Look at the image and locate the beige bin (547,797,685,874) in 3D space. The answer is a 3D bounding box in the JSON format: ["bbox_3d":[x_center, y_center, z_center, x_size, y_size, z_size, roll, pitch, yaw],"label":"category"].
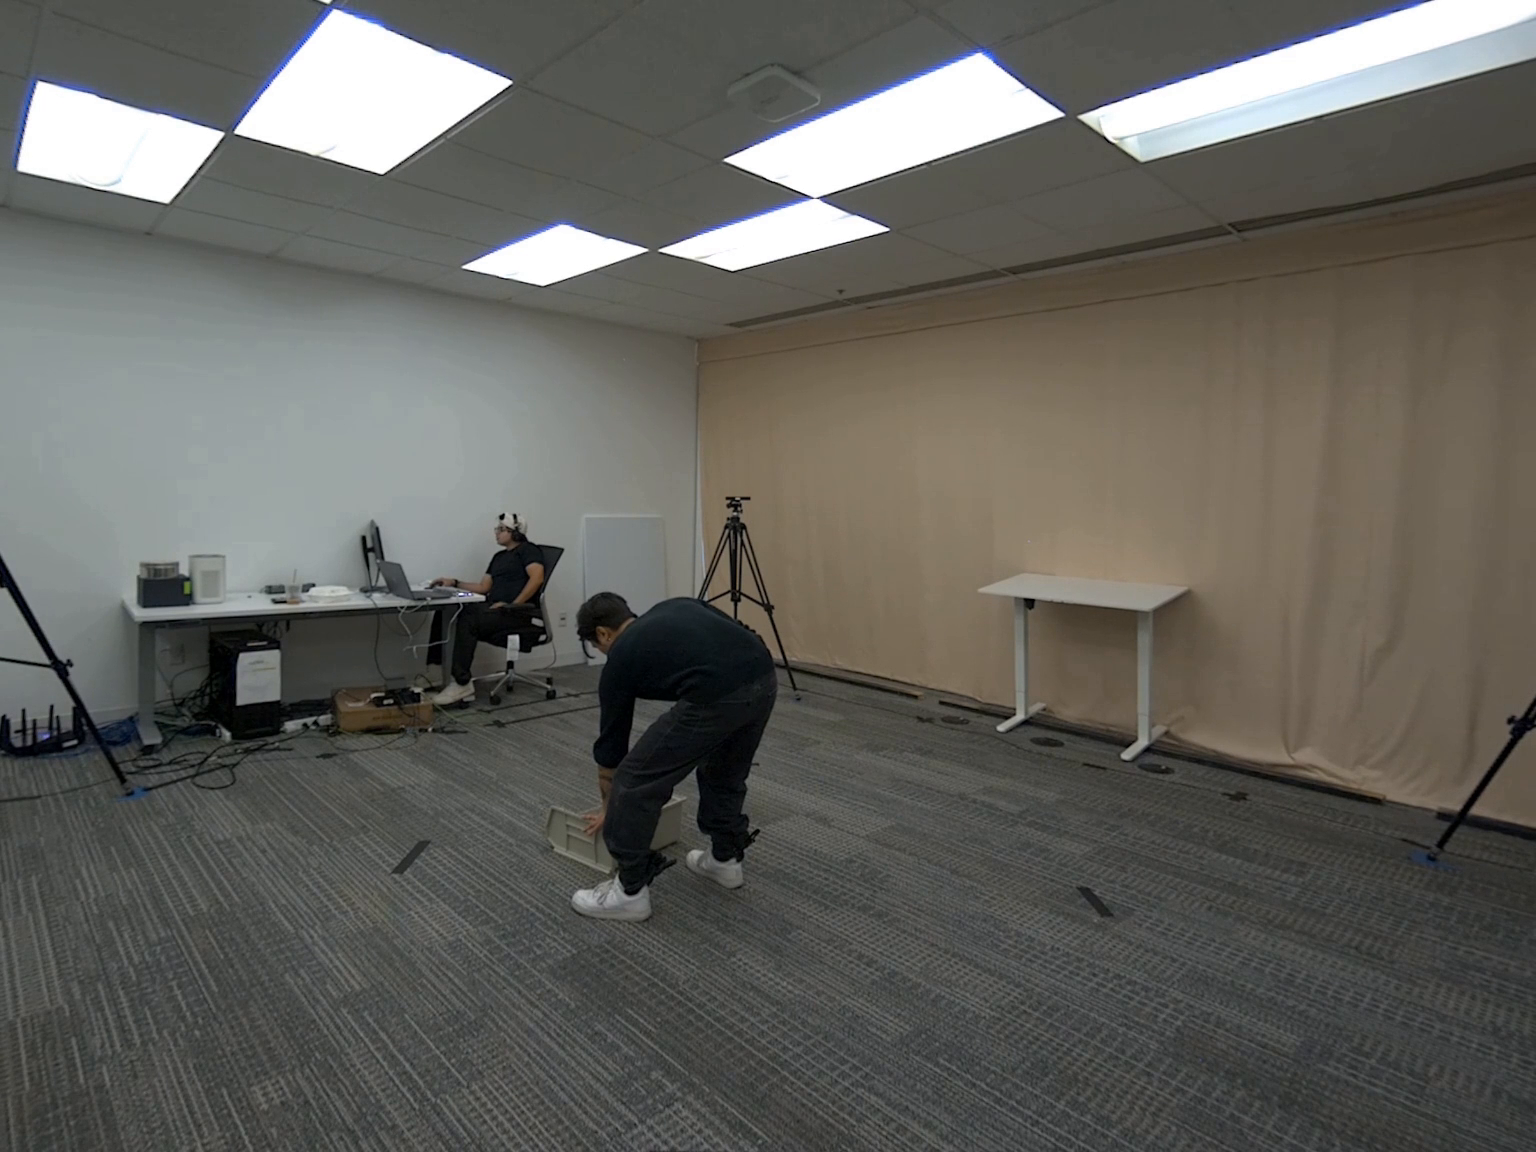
[{"bbox_3d":[-0.614,0.987,3.363,0.387,0.188,0.413,6,6,37],"label":"beige bin"}]
